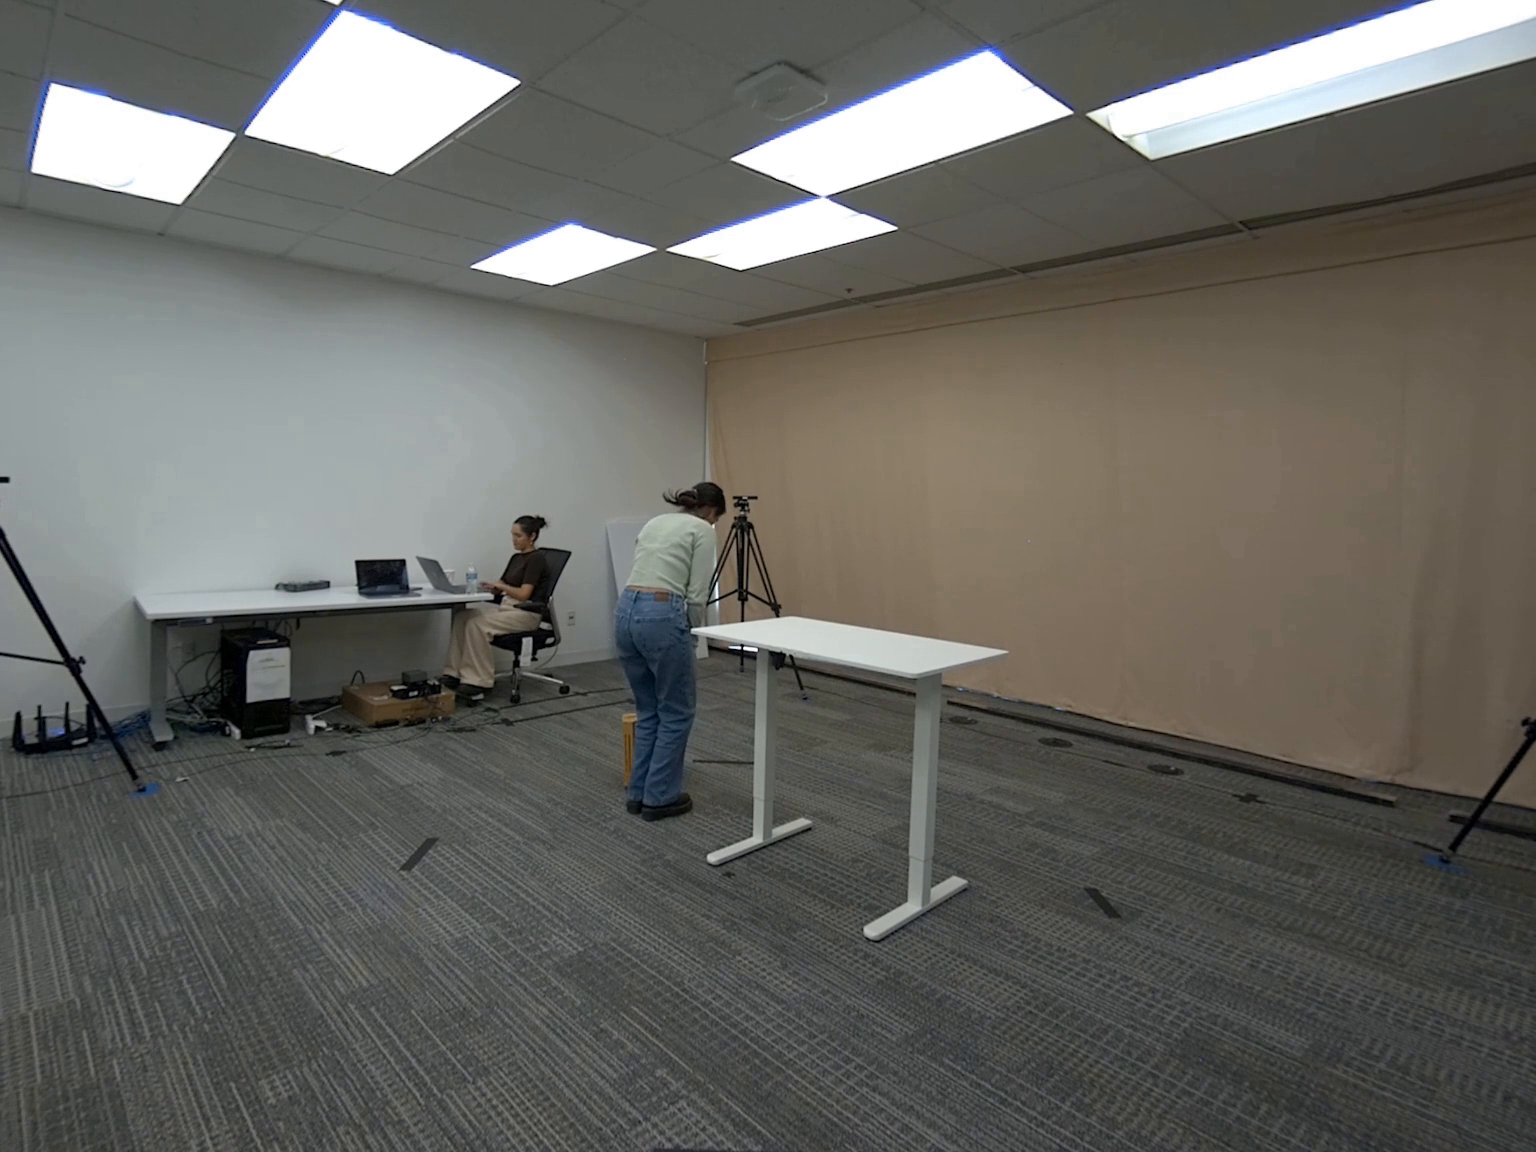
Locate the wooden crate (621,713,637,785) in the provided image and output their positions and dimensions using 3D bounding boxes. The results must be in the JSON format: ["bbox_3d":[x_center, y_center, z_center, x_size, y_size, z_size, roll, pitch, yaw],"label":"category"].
[{"bbox_3d":[-0.589,0.836,4.135,0.271,0.325,0.304,-2,-1,-12],"label":"wooden crate"}]
